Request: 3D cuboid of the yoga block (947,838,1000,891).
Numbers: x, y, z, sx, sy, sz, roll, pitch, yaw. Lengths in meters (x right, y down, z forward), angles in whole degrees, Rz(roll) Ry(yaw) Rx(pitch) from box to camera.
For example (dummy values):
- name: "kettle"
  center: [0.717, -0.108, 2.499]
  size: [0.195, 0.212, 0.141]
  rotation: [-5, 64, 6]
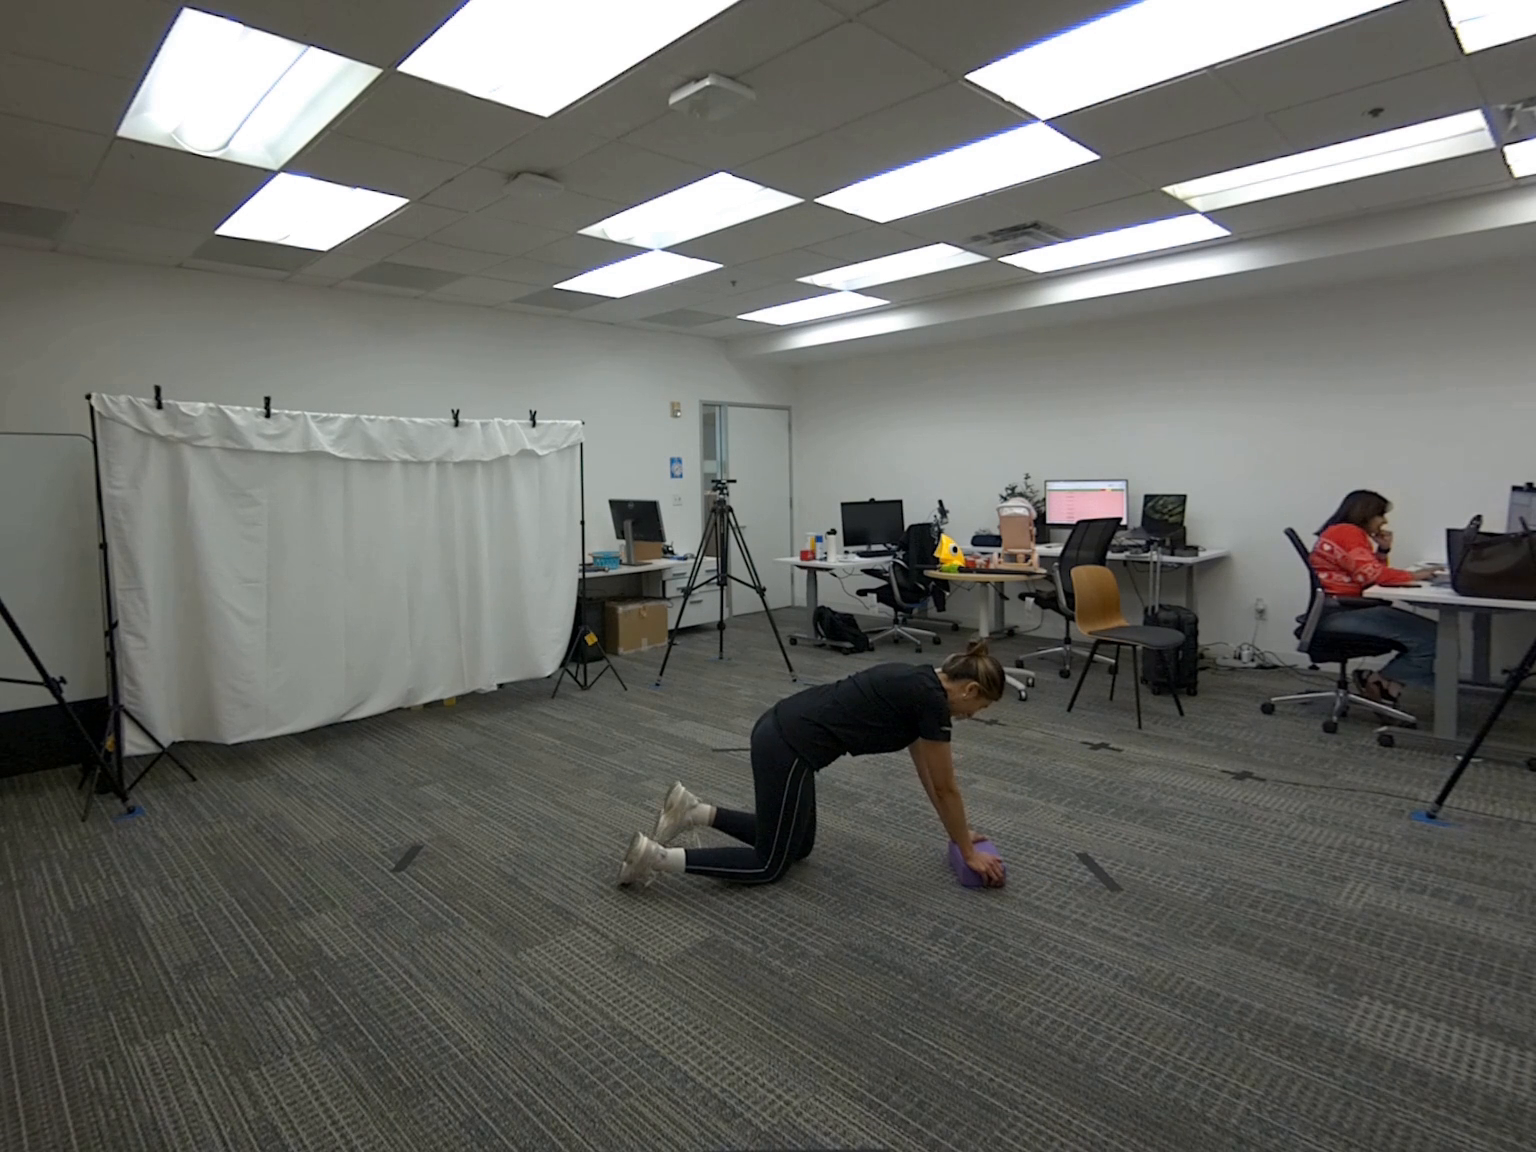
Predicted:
- name: "yoga block"
  center: [0.730, 1.001, 3.001]
  size: [0.149, 0.076, 0.230]
  rotation: [0, 7, 0]
